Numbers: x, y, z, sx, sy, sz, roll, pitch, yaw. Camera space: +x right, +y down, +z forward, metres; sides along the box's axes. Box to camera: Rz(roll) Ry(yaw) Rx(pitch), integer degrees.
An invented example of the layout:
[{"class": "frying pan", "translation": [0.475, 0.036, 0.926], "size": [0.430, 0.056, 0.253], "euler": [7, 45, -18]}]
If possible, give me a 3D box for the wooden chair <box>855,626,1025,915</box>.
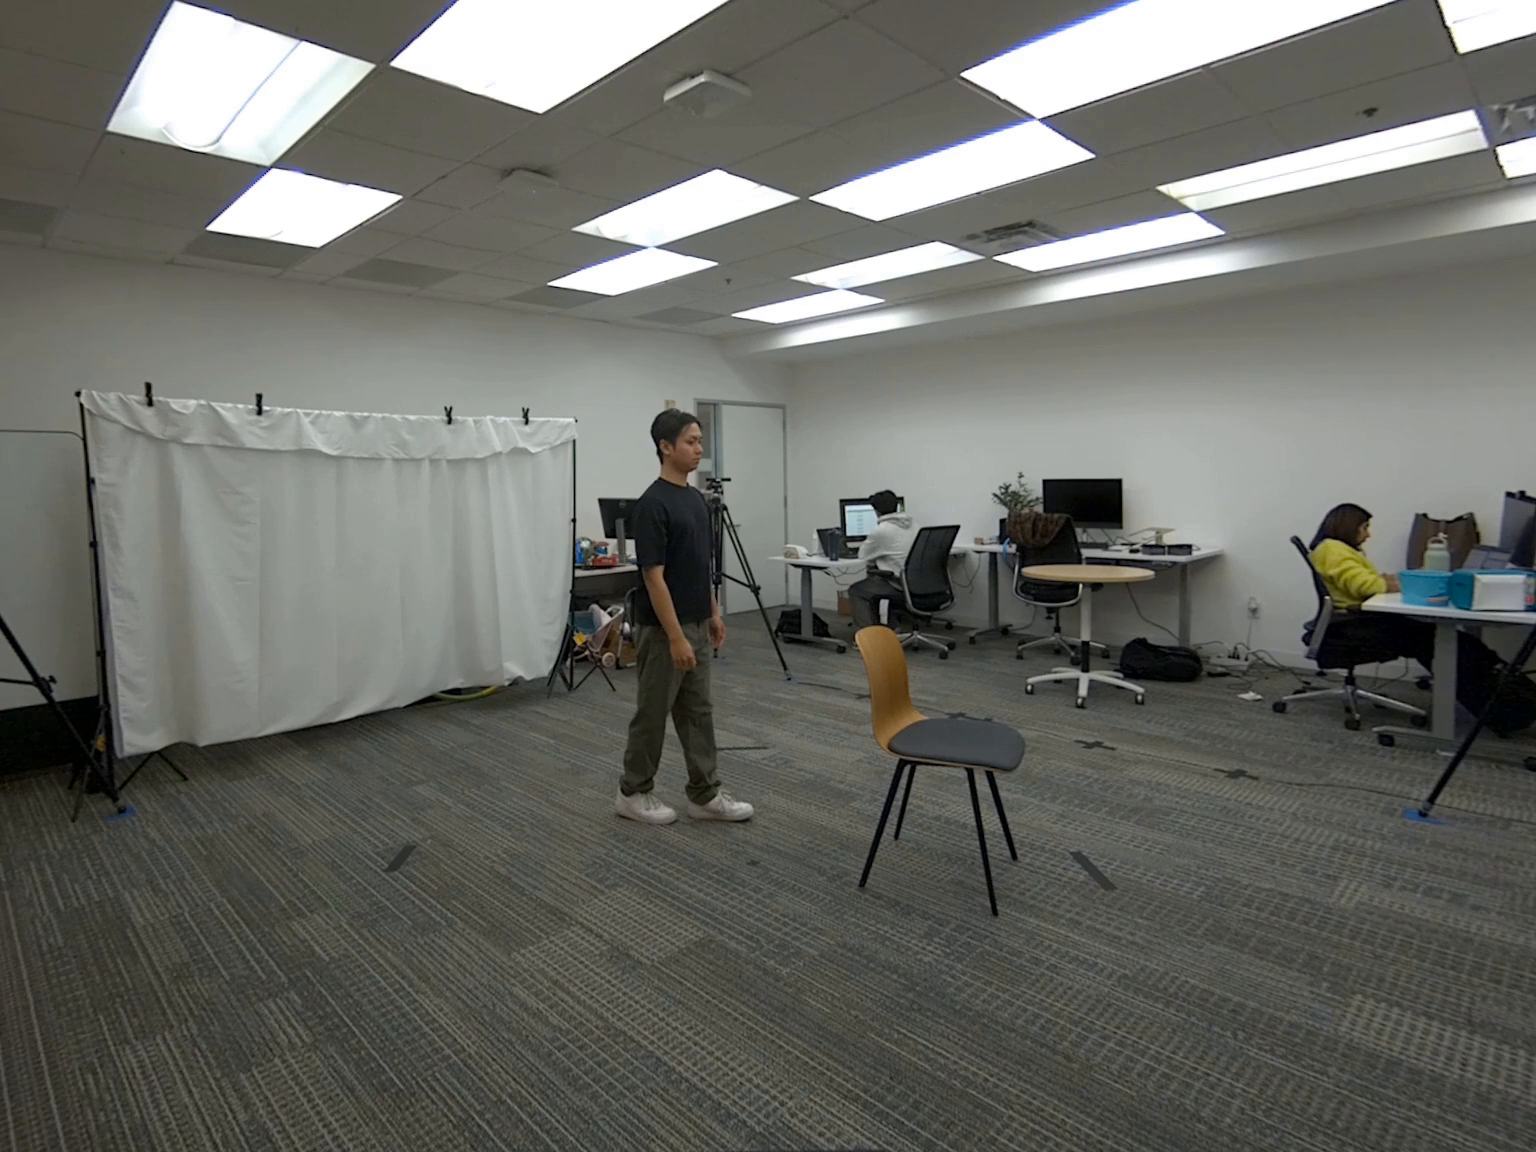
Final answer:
[{"class": "wooden chair", "translation": [0.608, 0.616, 2.964], "size": [0.535, 0.876, 0.468], "euler": [-4, 2, 26]}]
